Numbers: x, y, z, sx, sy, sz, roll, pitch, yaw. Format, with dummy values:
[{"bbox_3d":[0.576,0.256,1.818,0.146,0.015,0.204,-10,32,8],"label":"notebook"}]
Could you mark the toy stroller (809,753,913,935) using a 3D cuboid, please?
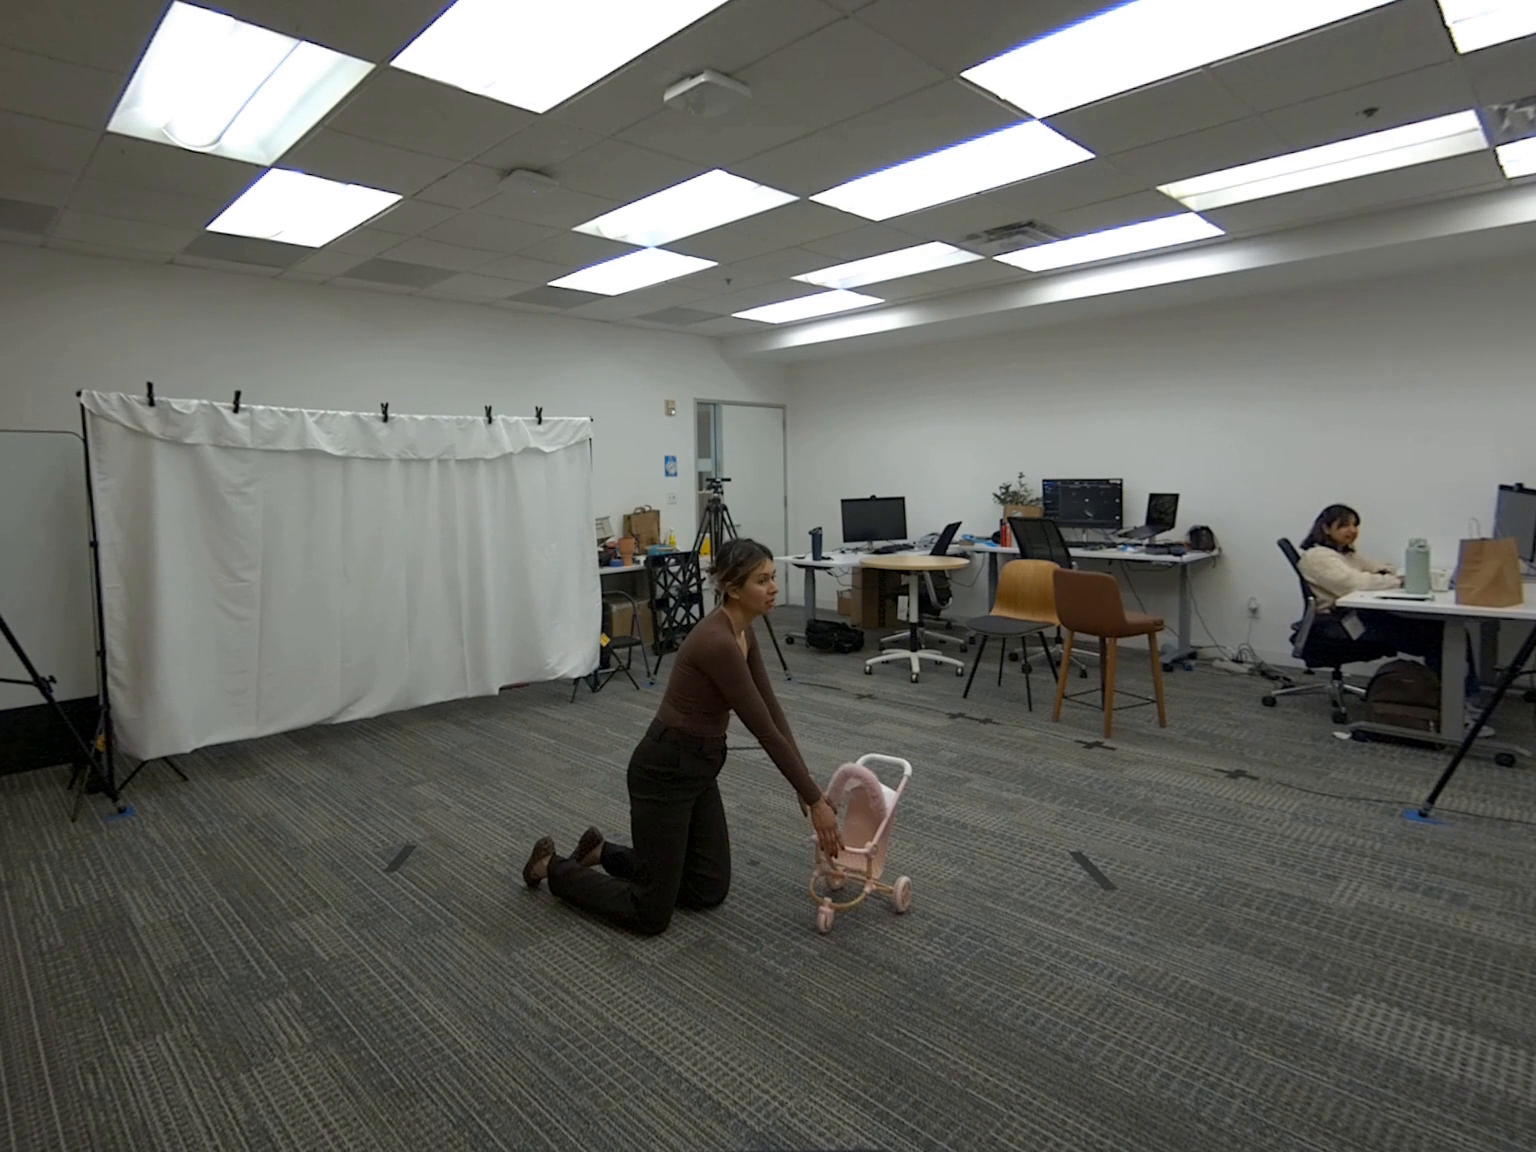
[{"bbox_3d":[0.283,0.846,2.758,0.290,0.538,0.329,1,-10,42],"label":"toy stroller"}]
